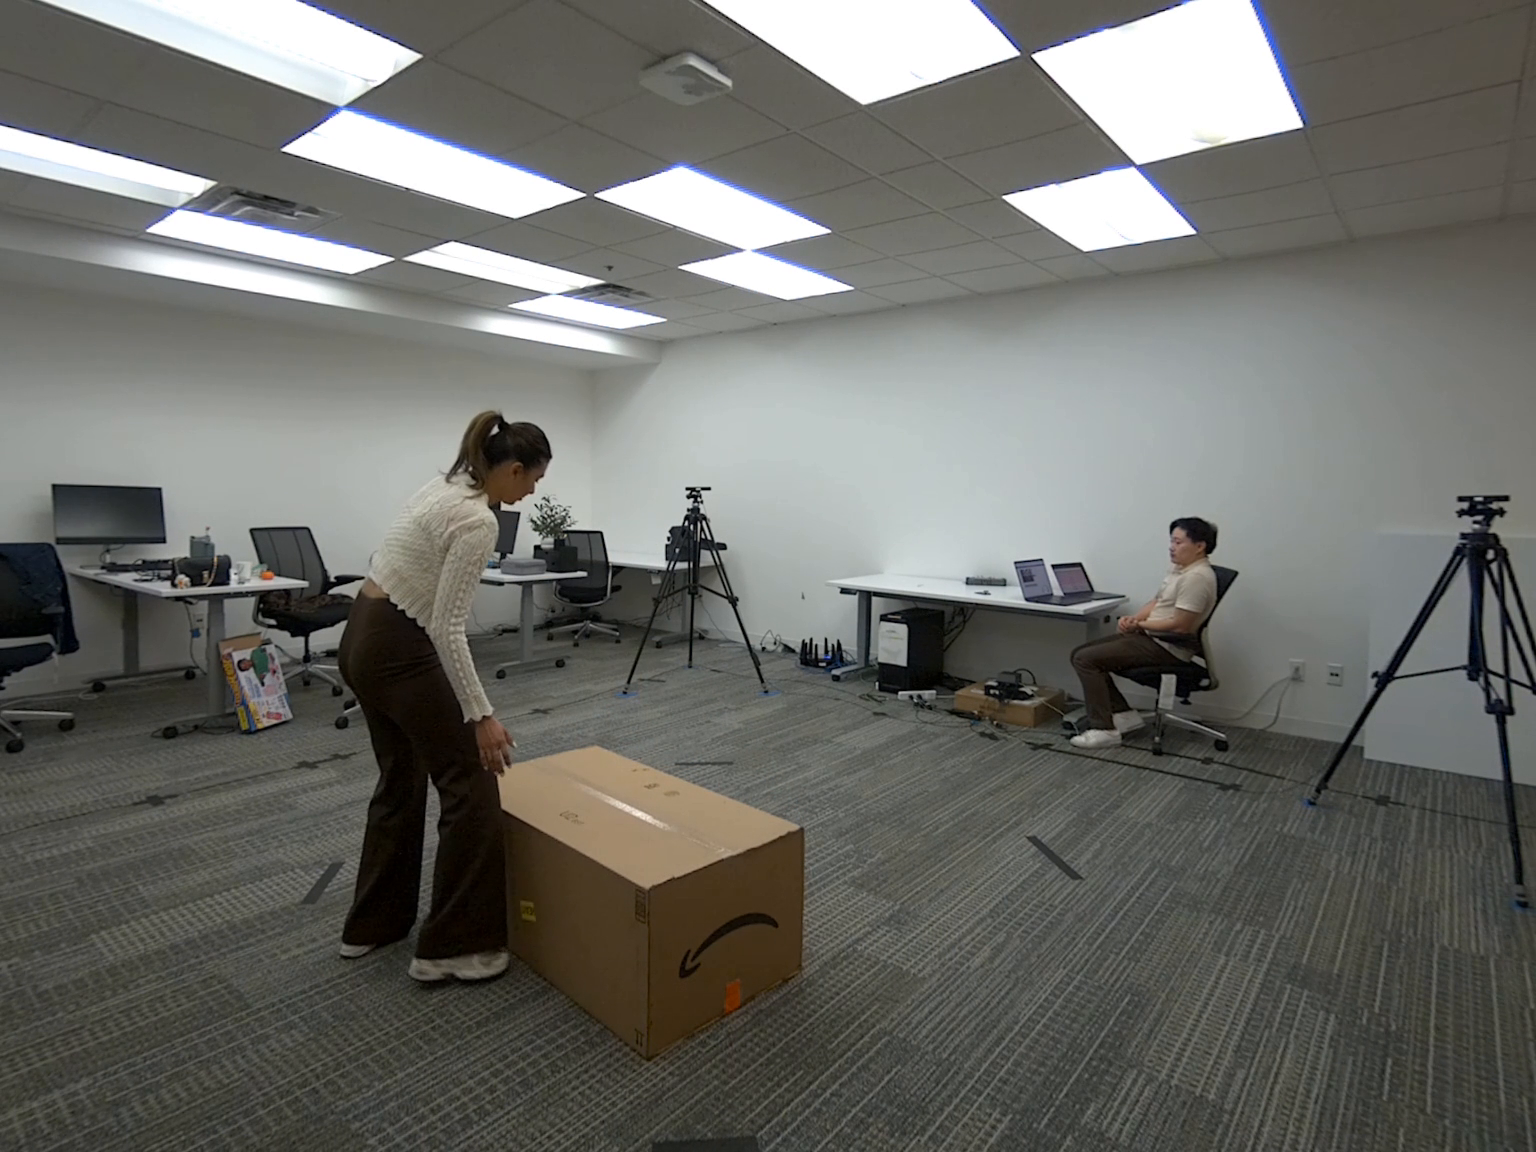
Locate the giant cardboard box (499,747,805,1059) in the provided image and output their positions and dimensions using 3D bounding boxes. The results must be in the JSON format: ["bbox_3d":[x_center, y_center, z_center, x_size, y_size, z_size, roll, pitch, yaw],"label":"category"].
[{"bbox_3d":[-0.469,0.901,2.612,0.560,0.424,1.061,-4,7,-45],"label":"giant cardboard box"}]
